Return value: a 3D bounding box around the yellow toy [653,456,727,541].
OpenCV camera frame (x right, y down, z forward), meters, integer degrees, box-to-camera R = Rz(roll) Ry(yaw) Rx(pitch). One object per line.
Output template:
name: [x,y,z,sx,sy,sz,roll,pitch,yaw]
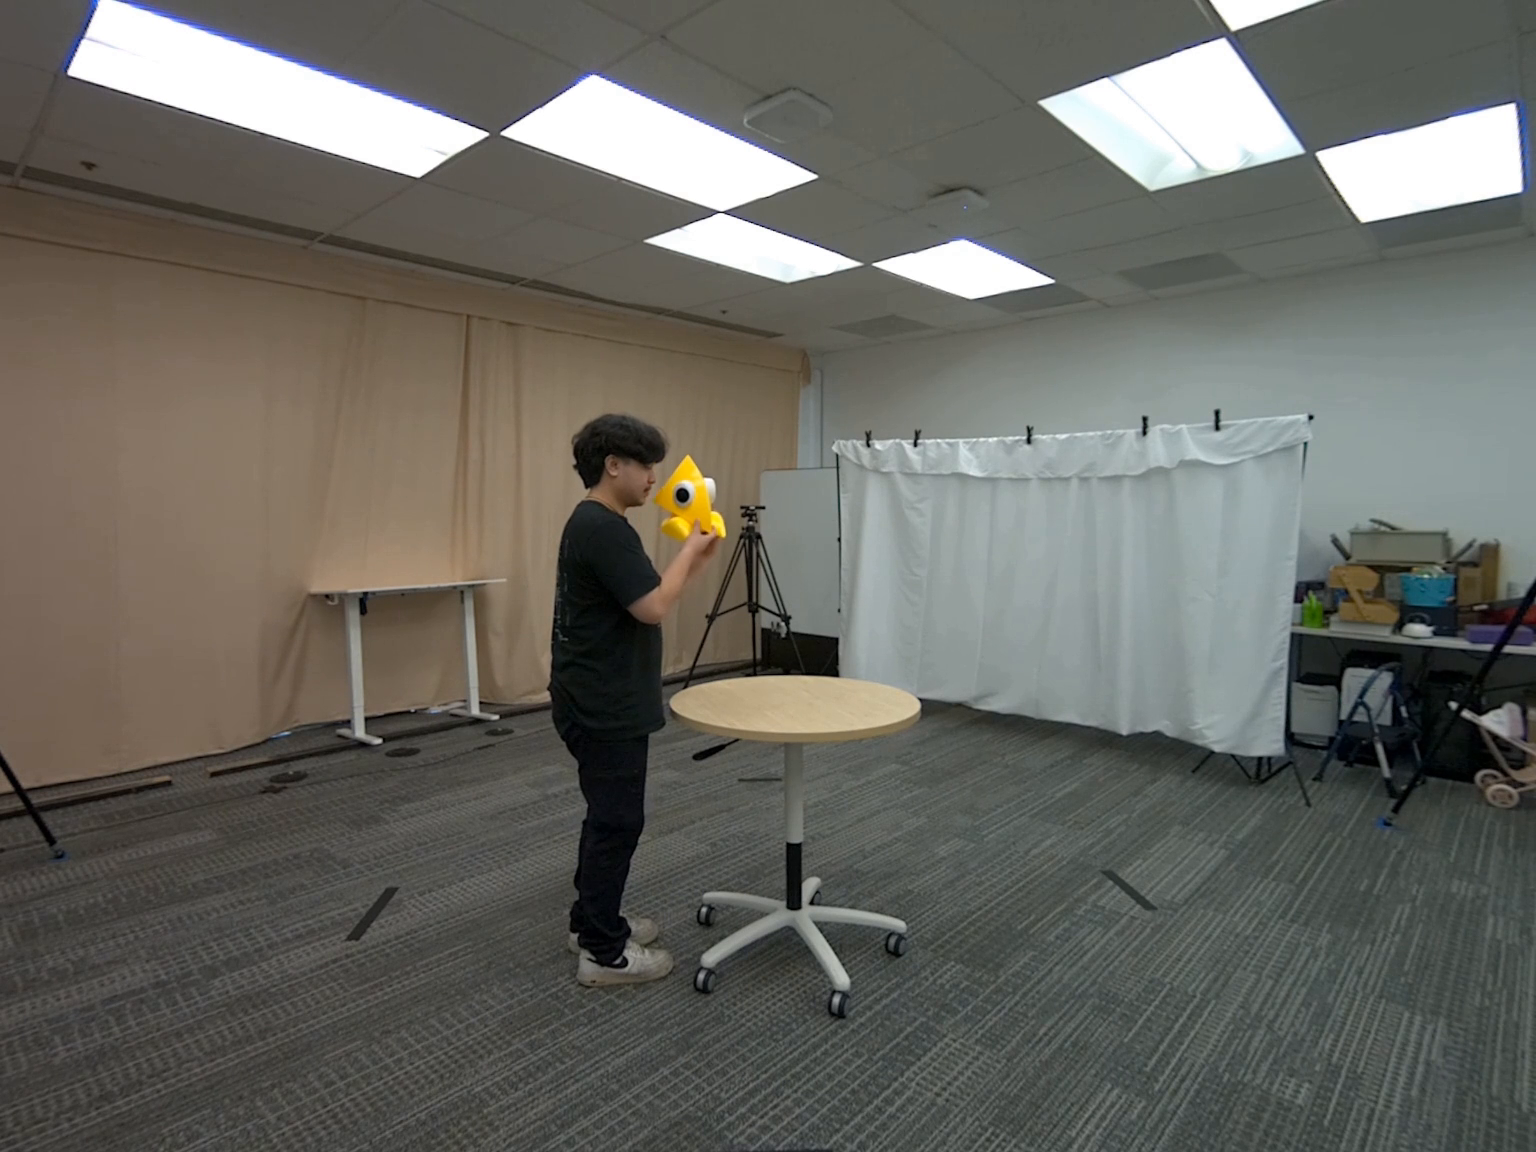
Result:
yellow toy: [-0.224,-0.247,2.630,0.199,0.228,0.200,-12,30,-42]
